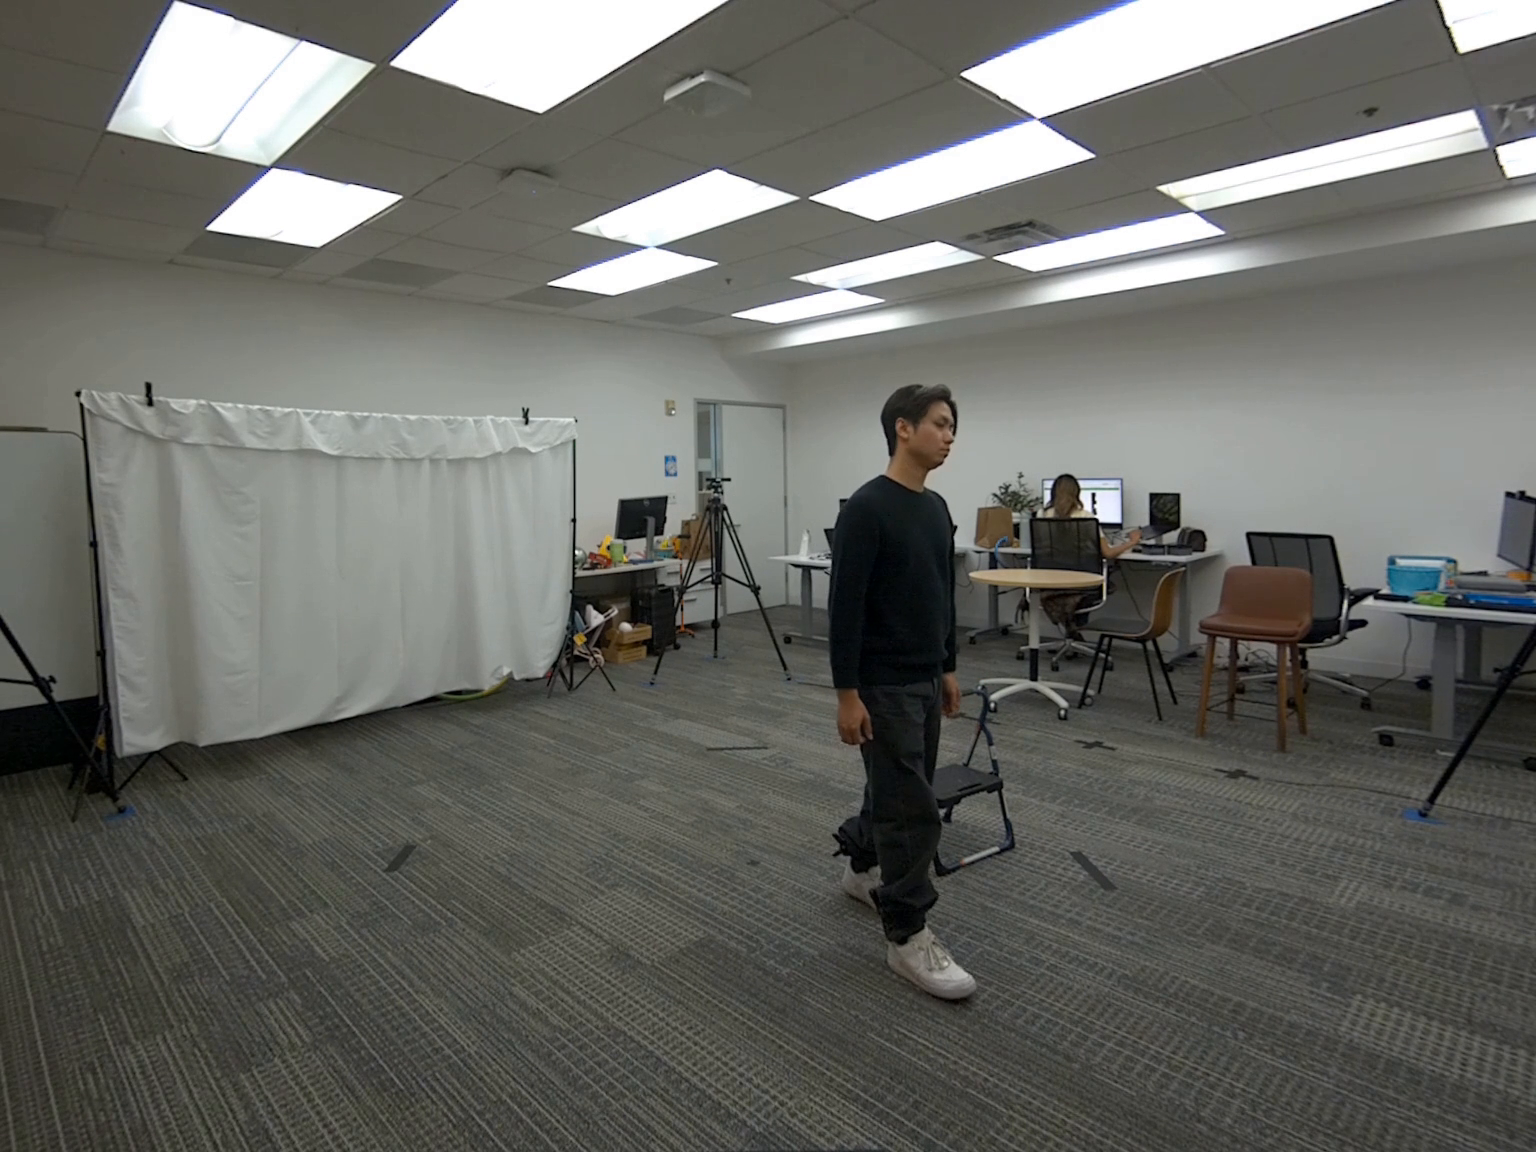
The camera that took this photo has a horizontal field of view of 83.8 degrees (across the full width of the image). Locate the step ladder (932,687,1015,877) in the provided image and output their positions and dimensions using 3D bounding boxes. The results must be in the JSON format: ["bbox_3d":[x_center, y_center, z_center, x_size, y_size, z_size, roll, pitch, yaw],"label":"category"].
[{"bbox_3d":[0.656,0.718,3.199,0.419,0.604,0.360,-4,5,-36],"label":"step ladder"}]
